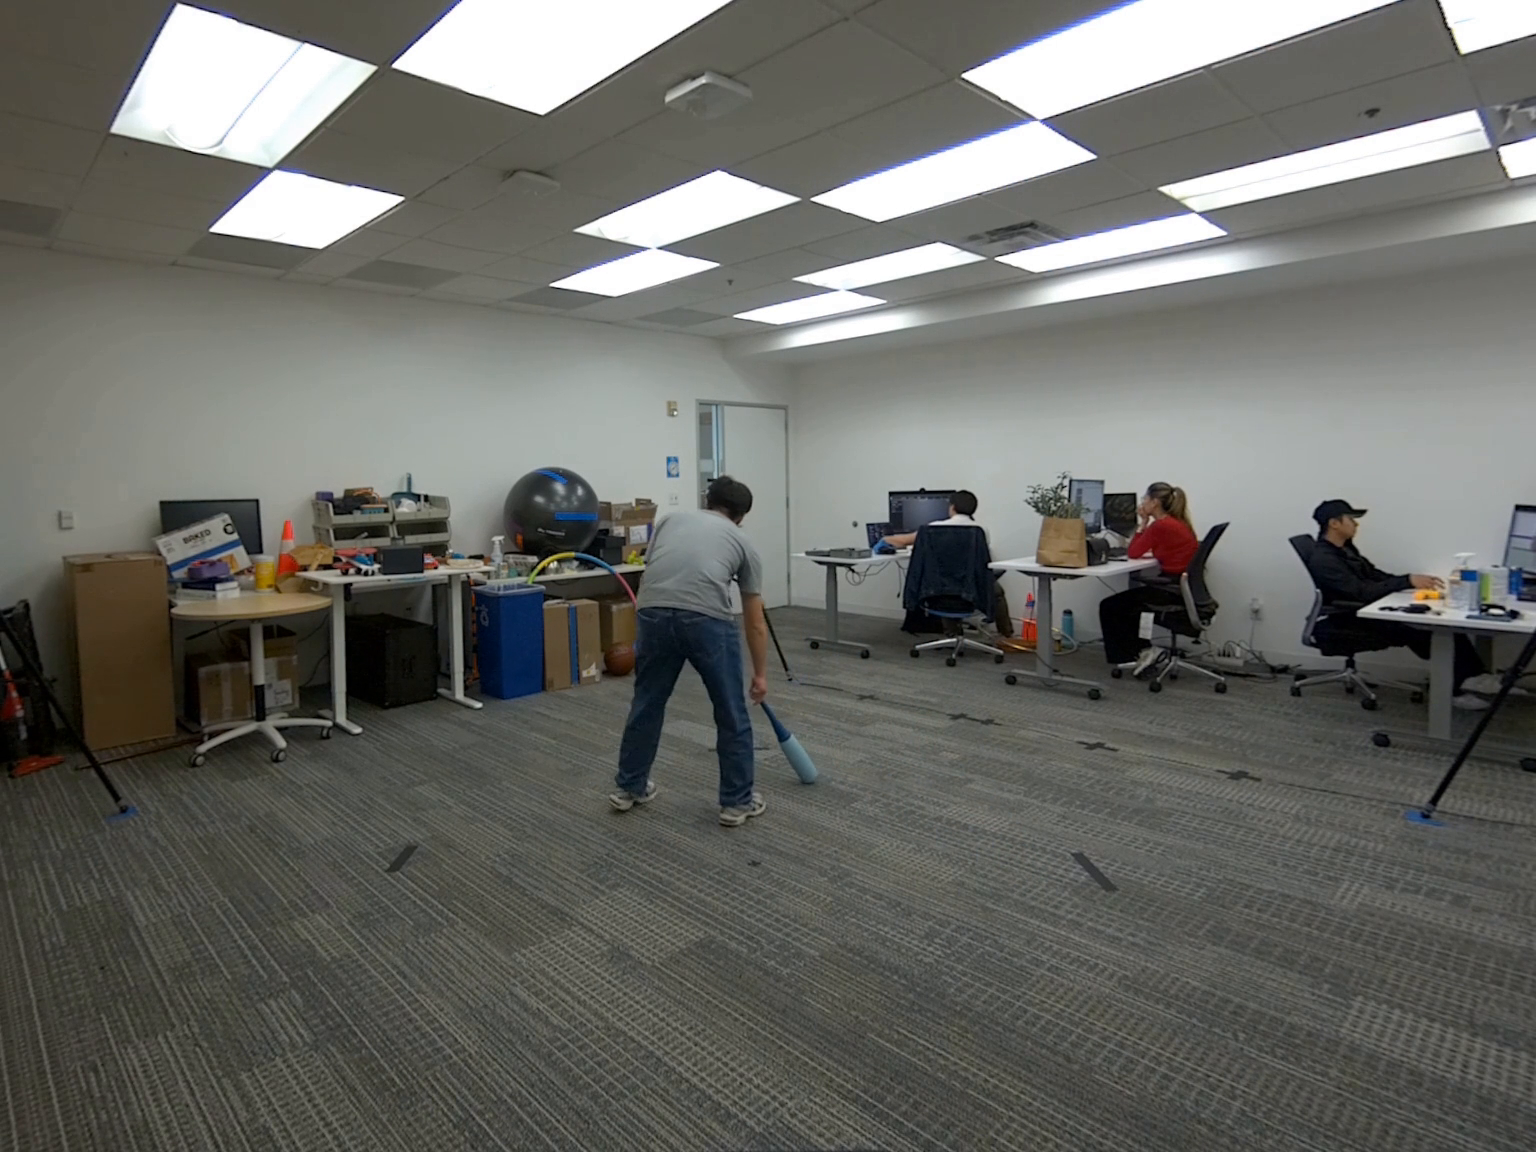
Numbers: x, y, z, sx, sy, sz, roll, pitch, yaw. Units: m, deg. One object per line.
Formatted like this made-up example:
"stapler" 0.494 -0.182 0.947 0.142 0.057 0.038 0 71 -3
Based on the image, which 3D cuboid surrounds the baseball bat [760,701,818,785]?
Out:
"baseball bat" 0.057 0.720 3.855 0.089 0.533 0.090 -29 15 8
